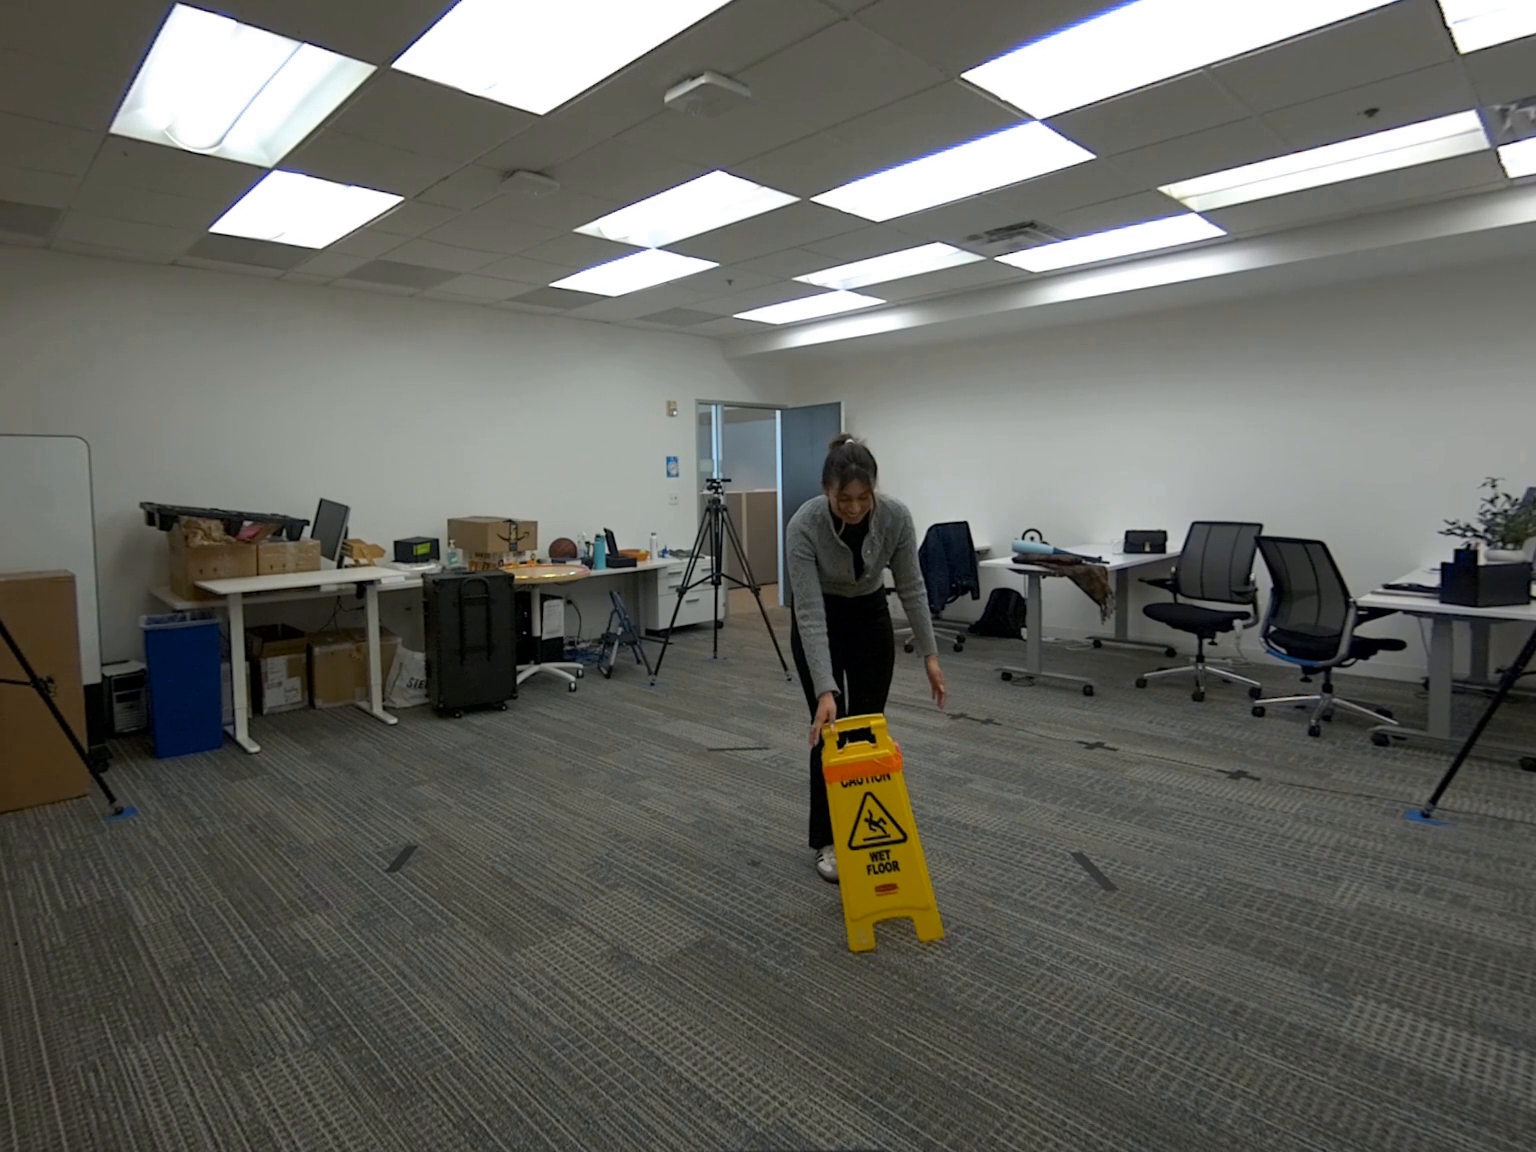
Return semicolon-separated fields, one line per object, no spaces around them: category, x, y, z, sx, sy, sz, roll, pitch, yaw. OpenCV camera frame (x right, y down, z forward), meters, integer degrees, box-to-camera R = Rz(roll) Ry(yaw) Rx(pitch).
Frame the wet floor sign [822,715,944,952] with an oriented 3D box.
wet floor sign;0.327;0.759;2.633;0.283;0.643;0.290;-11;4;3
